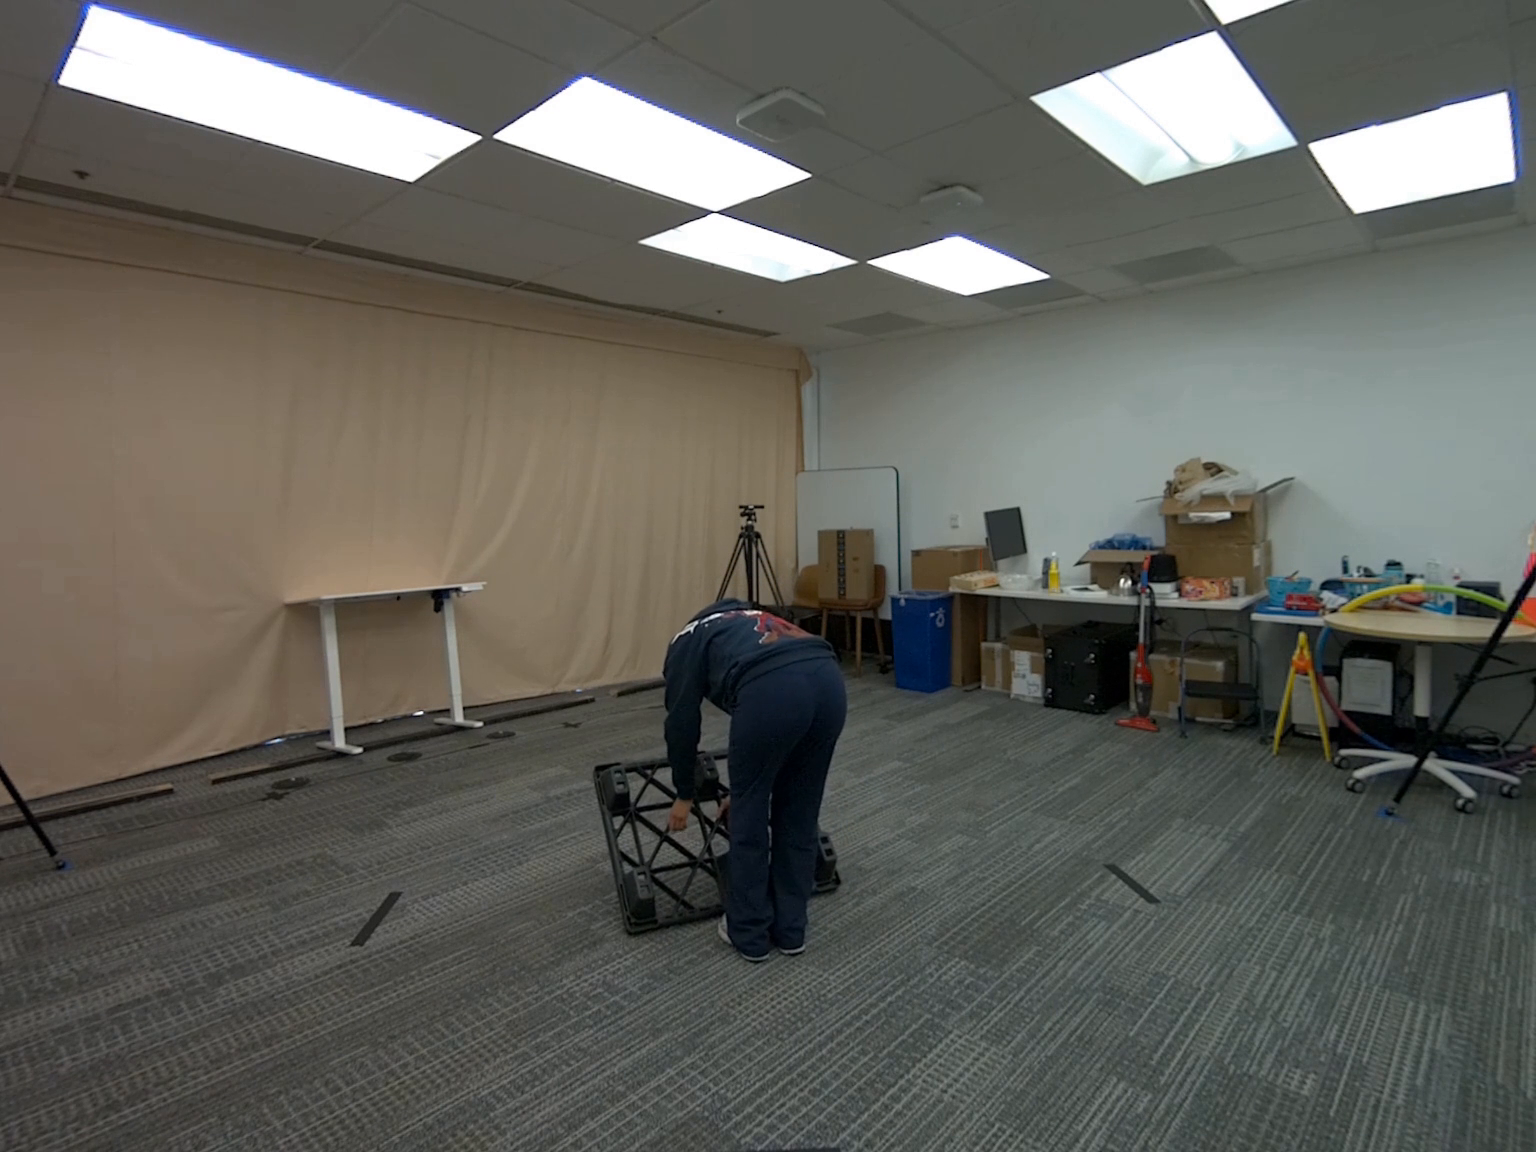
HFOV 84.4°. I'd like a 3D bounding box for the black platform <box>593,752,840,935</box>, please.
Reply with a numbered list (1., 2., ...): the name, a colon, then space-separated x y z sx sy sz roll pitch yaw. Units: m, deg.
1. black platform: -0.178 0.884 3.022 0.788 0.622 0.142 -4 -41 -23
